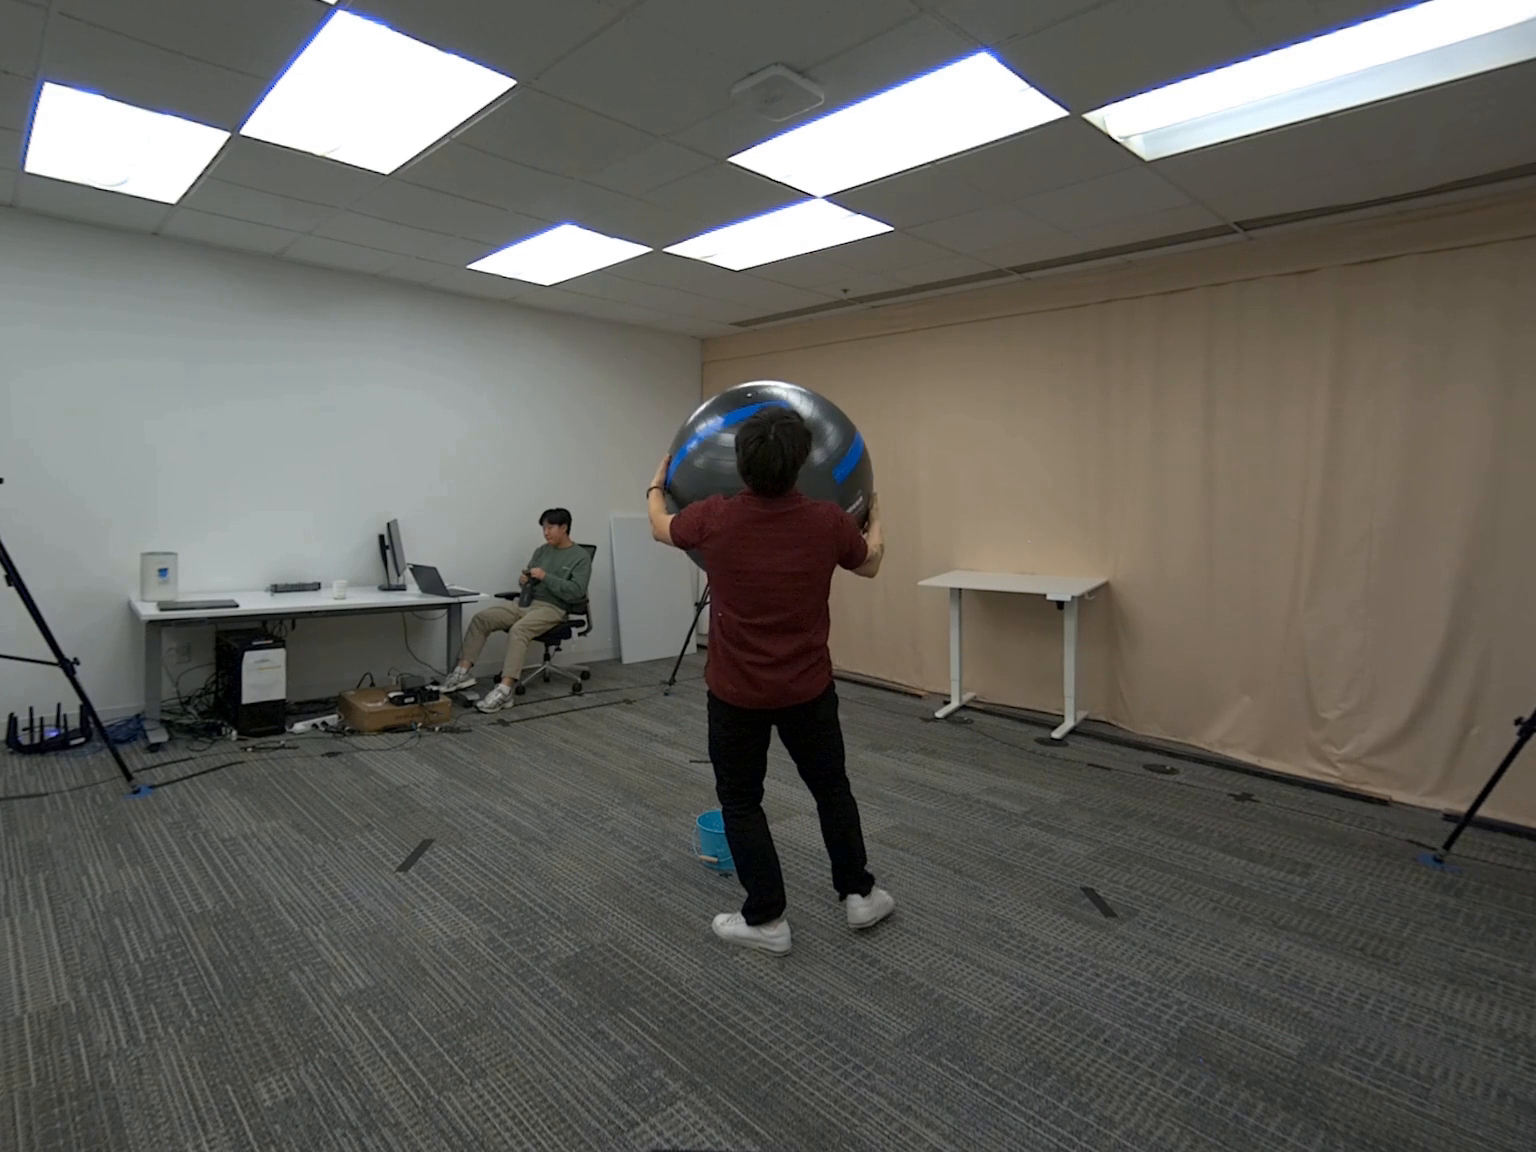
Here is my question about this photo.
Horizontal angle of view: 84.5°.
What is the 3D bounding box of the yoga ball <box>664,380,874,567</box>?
[{"bbox_3d":[0.001,-0.317,3.037,0.757,0.756,0.761,1,4,-1],"label":"yoga ball"}]
